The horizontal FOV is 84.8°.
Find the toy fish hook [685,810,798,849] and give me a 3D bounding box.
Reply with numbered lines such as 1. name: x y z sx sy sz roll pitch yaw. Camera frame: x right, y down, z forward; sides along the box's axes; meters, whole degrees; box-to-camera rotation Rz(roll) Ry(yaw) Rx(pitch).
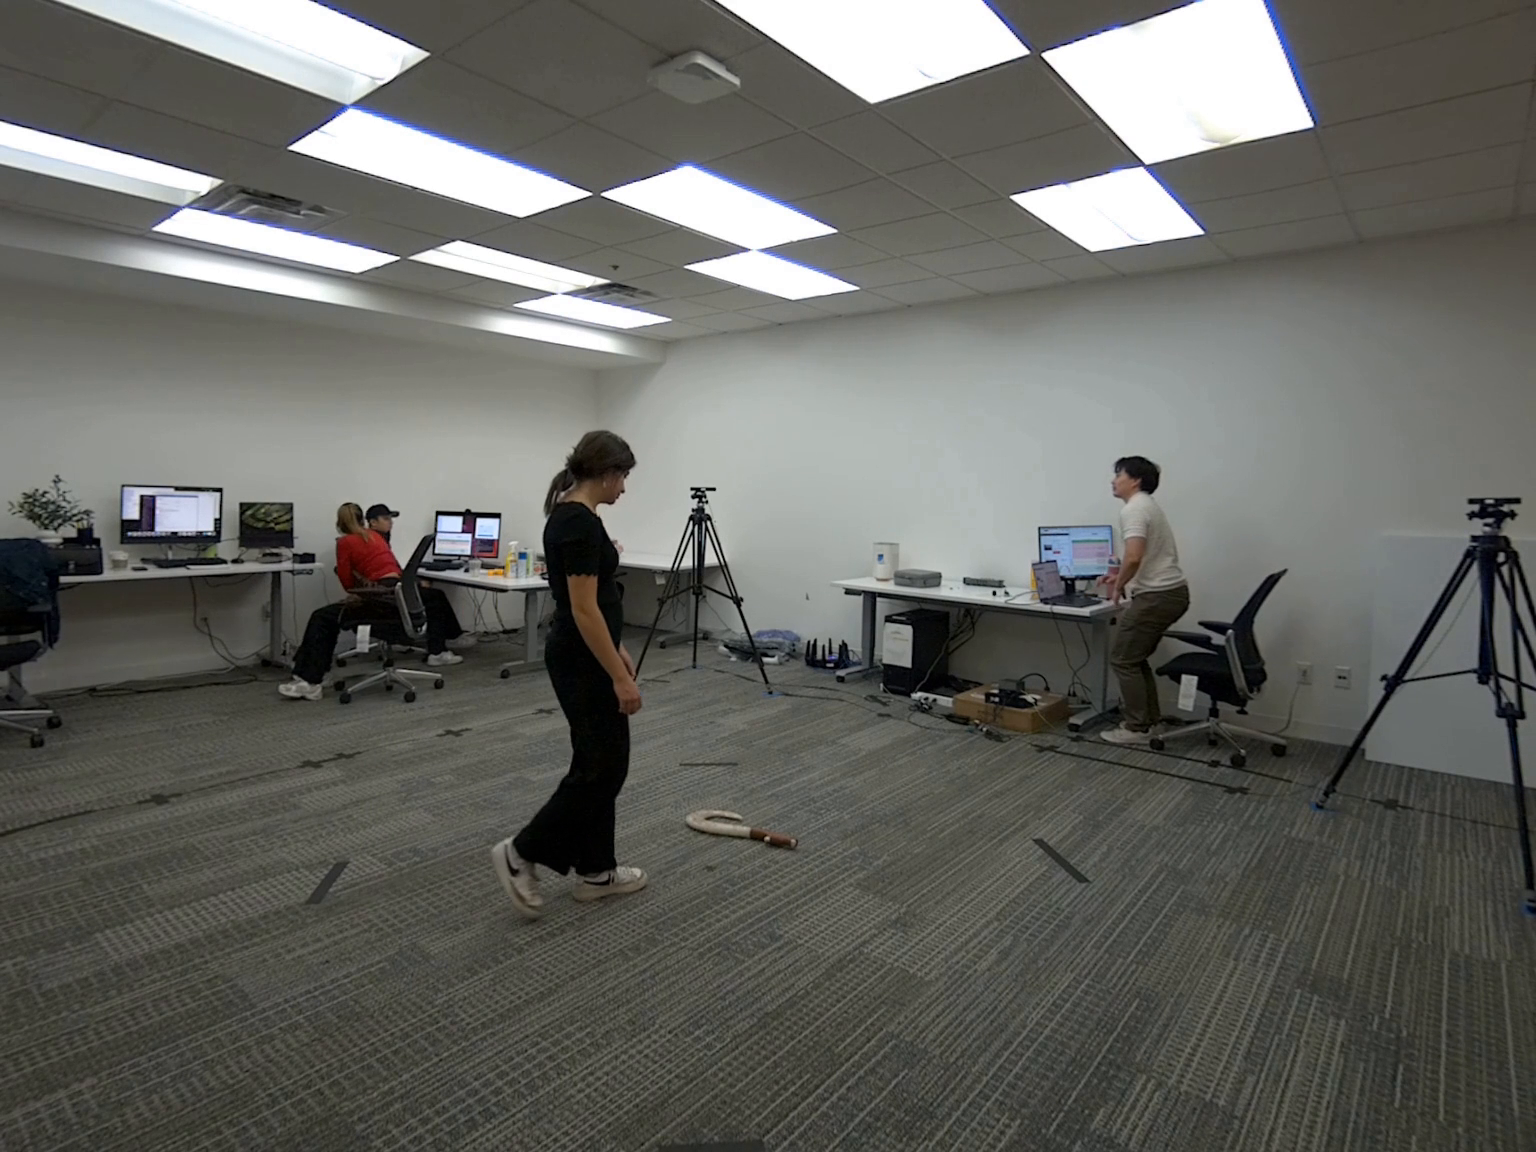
1. toy fish hook: -0.102 1.011 3.451 0.521 0.048 0.219 4 7 28
